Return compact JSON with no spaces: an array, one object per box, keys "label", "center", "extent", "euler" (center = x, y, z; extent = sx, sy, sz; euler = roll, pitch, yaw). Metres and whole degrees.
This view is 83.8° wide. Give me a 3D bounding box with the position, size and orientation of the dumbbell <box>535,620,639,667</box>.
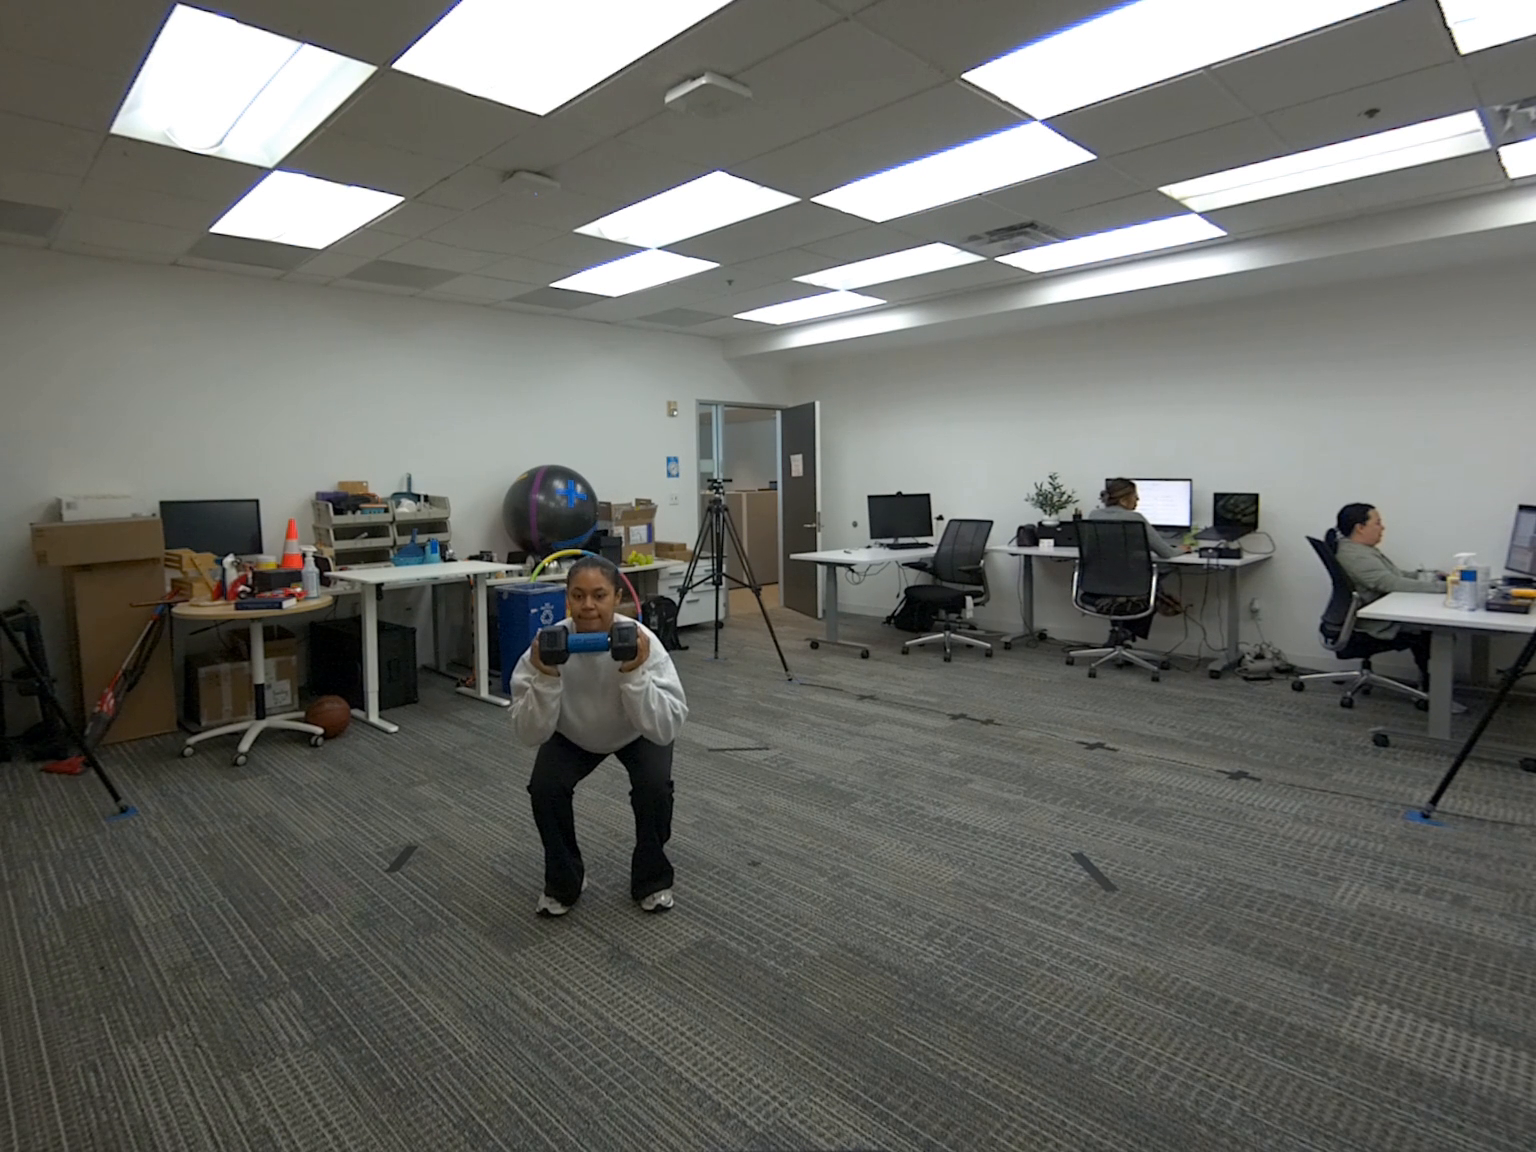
[{"label":"dumbbell","center":[-0.545,0.190,2.581],"extent":[0.293,0.126,0.106],"euler":[-4,-24,-3]}]
